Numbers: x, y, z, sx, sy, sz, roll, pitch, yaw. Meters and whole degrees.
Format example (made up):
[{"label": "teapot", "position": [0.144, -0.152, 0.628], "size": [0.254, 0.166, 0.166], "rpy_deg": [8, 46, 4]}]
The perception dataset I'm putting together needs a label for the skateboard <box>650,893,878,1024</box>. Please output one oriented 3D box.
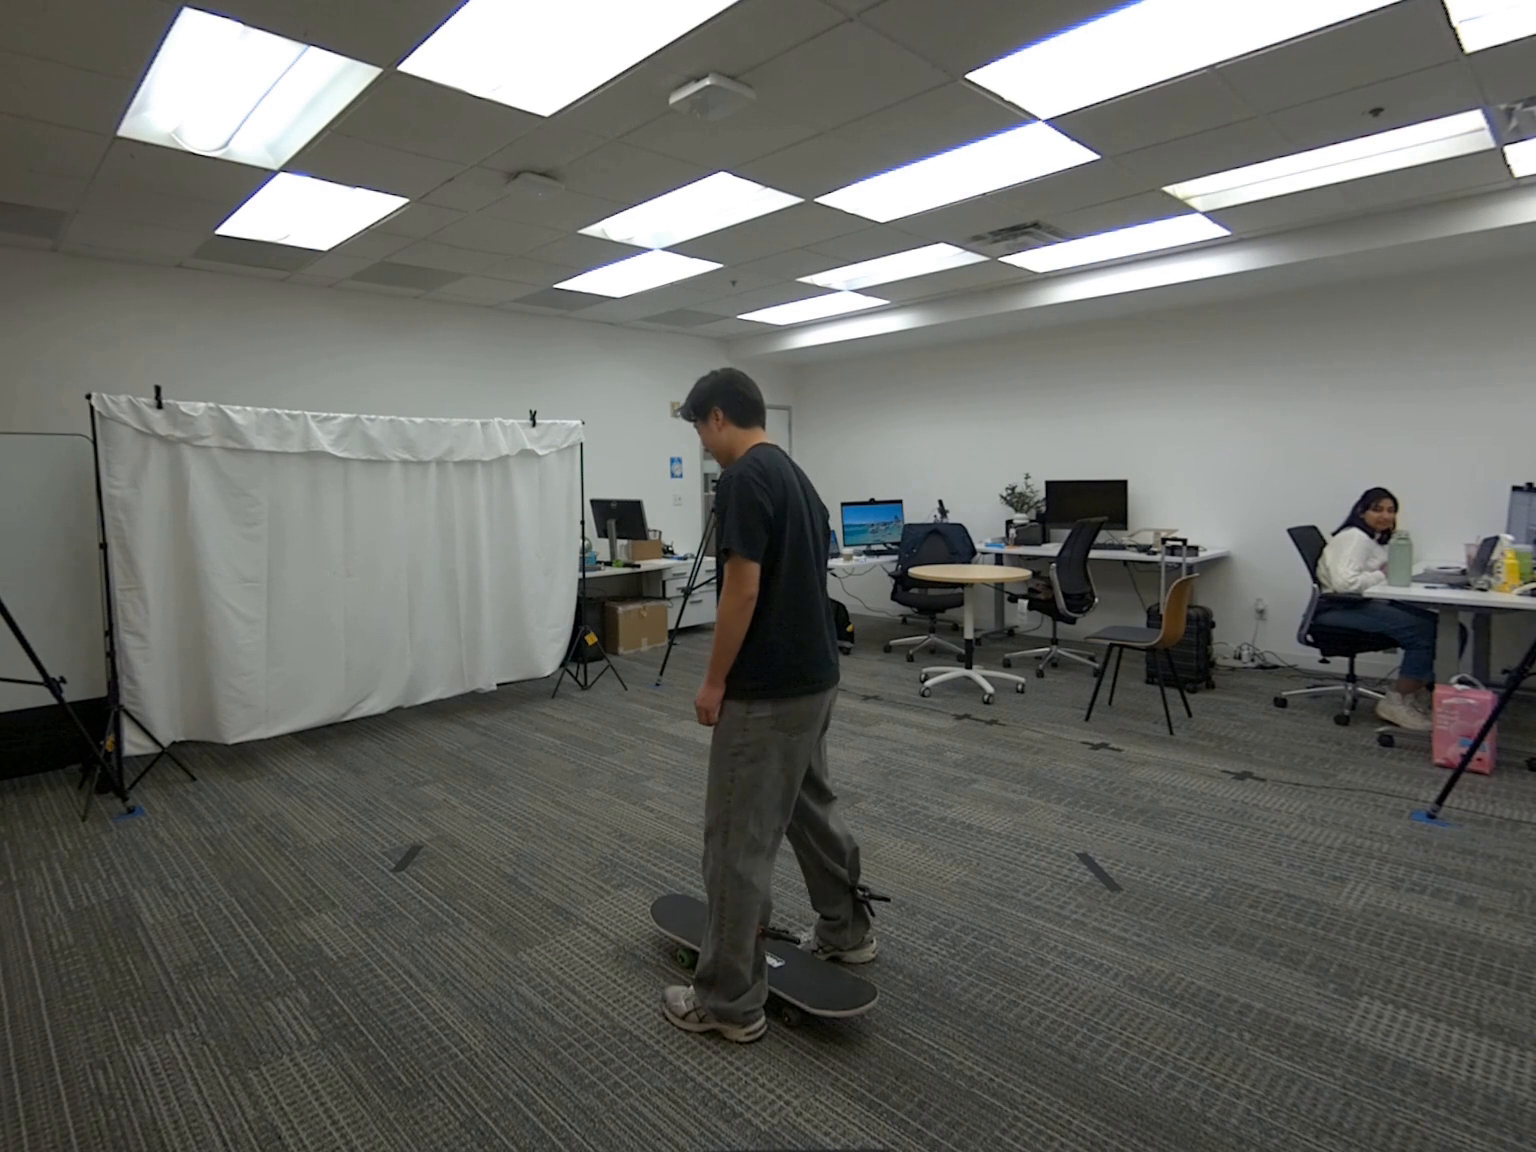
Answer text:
[{"label": "skateboard", "position": [-0.034, 1.074, 2.375], "size": [0.809, 0.110, 0.188], "rpy_deg": [4, 8, 43]}]
